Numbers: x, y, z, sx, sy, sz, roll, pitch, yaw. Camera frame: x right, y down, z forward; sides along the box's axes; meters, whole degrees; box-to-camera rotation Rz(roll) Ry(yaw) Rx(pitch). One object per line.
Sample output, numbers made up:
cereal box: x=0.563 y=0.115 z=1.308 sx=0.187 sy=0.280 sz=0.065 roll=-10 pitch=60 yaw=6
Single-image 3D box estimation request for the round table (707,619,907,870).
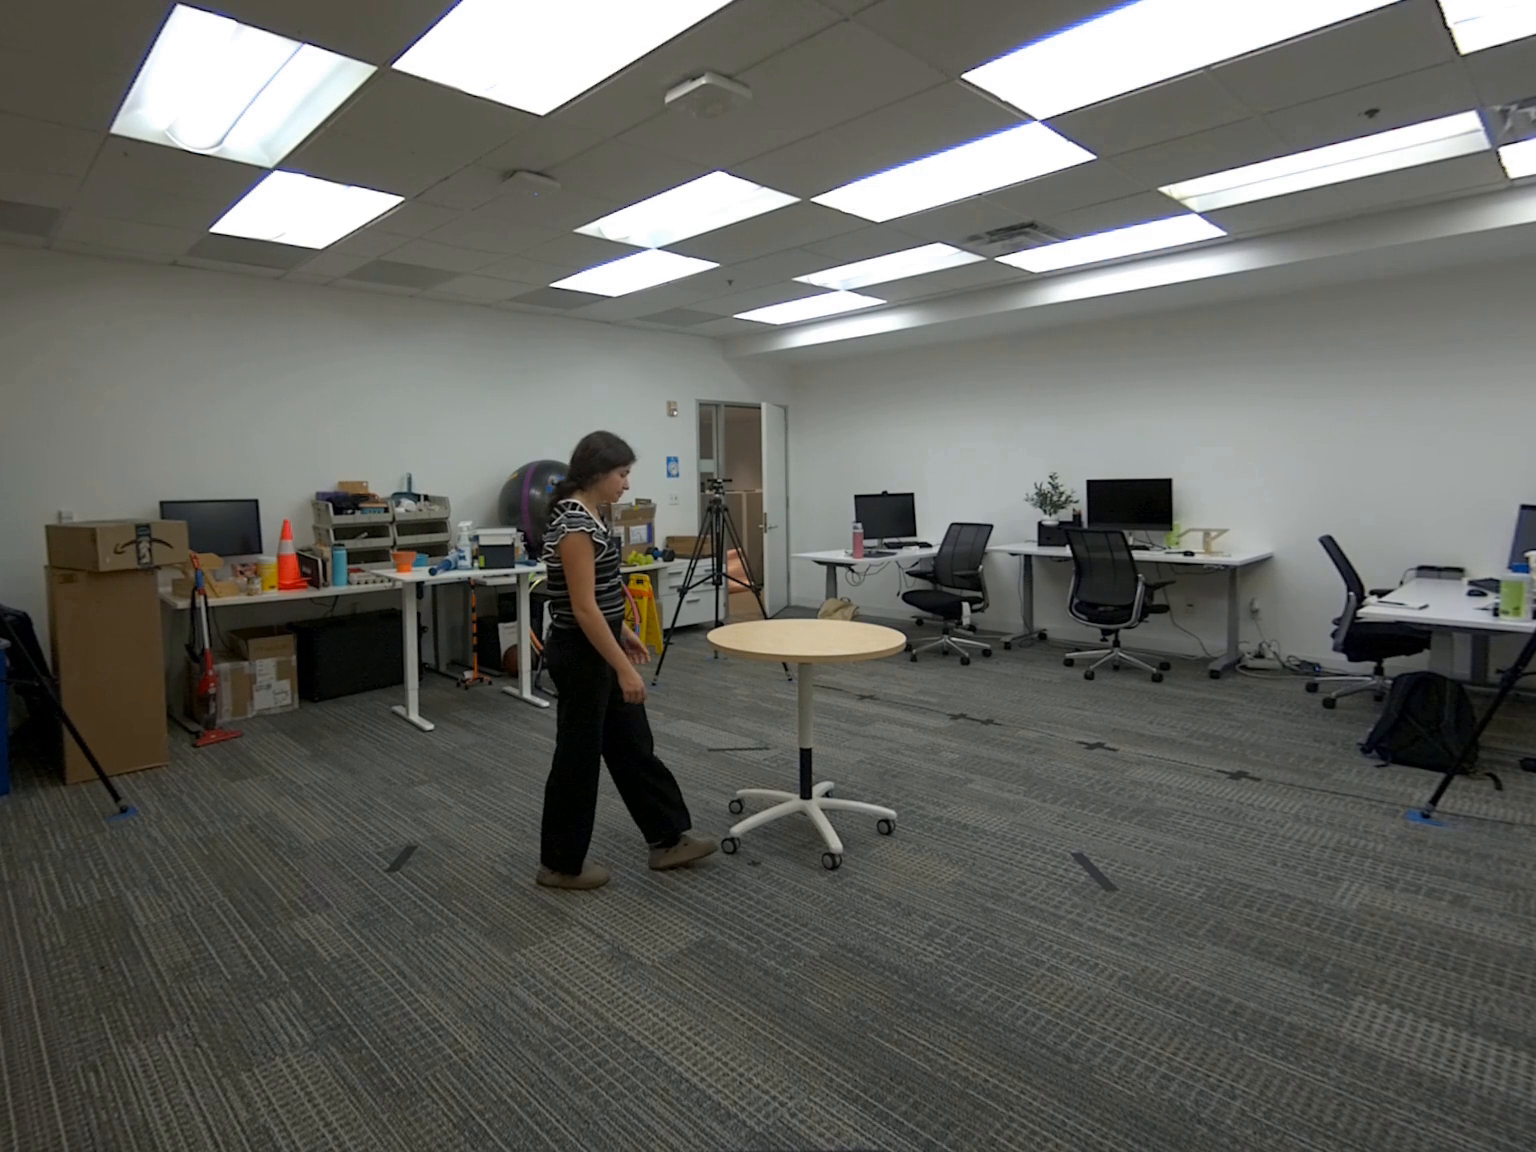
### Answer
round table: x=0.144 y=0.622 z=3.333 sx=0.784 sy=0.784 sz=0.789 roll=-1 pitch=4 yaw=-2
